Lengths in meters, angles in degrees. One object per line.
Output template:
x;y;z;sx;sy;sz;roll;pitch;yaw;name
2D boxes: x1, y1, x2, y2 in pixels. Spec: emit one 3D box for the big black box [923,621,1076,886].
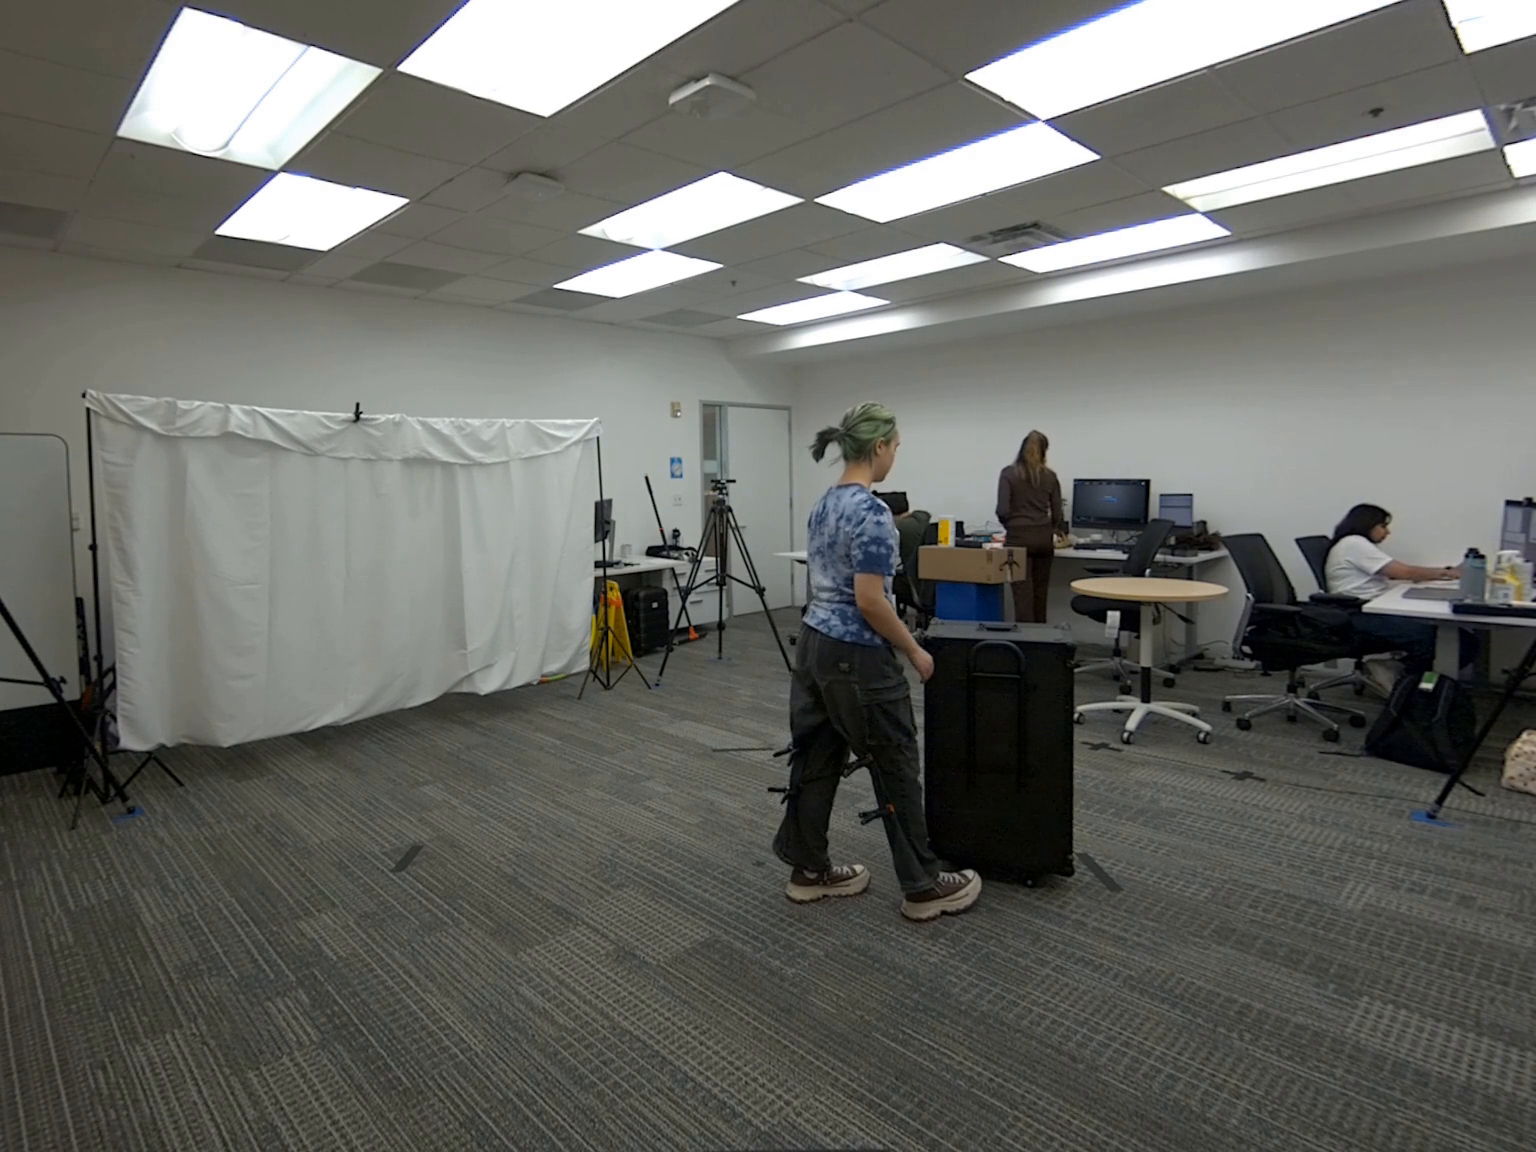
0.825;0.615;3.027;0.530;0.858;0.391;1;5;18;big black box
